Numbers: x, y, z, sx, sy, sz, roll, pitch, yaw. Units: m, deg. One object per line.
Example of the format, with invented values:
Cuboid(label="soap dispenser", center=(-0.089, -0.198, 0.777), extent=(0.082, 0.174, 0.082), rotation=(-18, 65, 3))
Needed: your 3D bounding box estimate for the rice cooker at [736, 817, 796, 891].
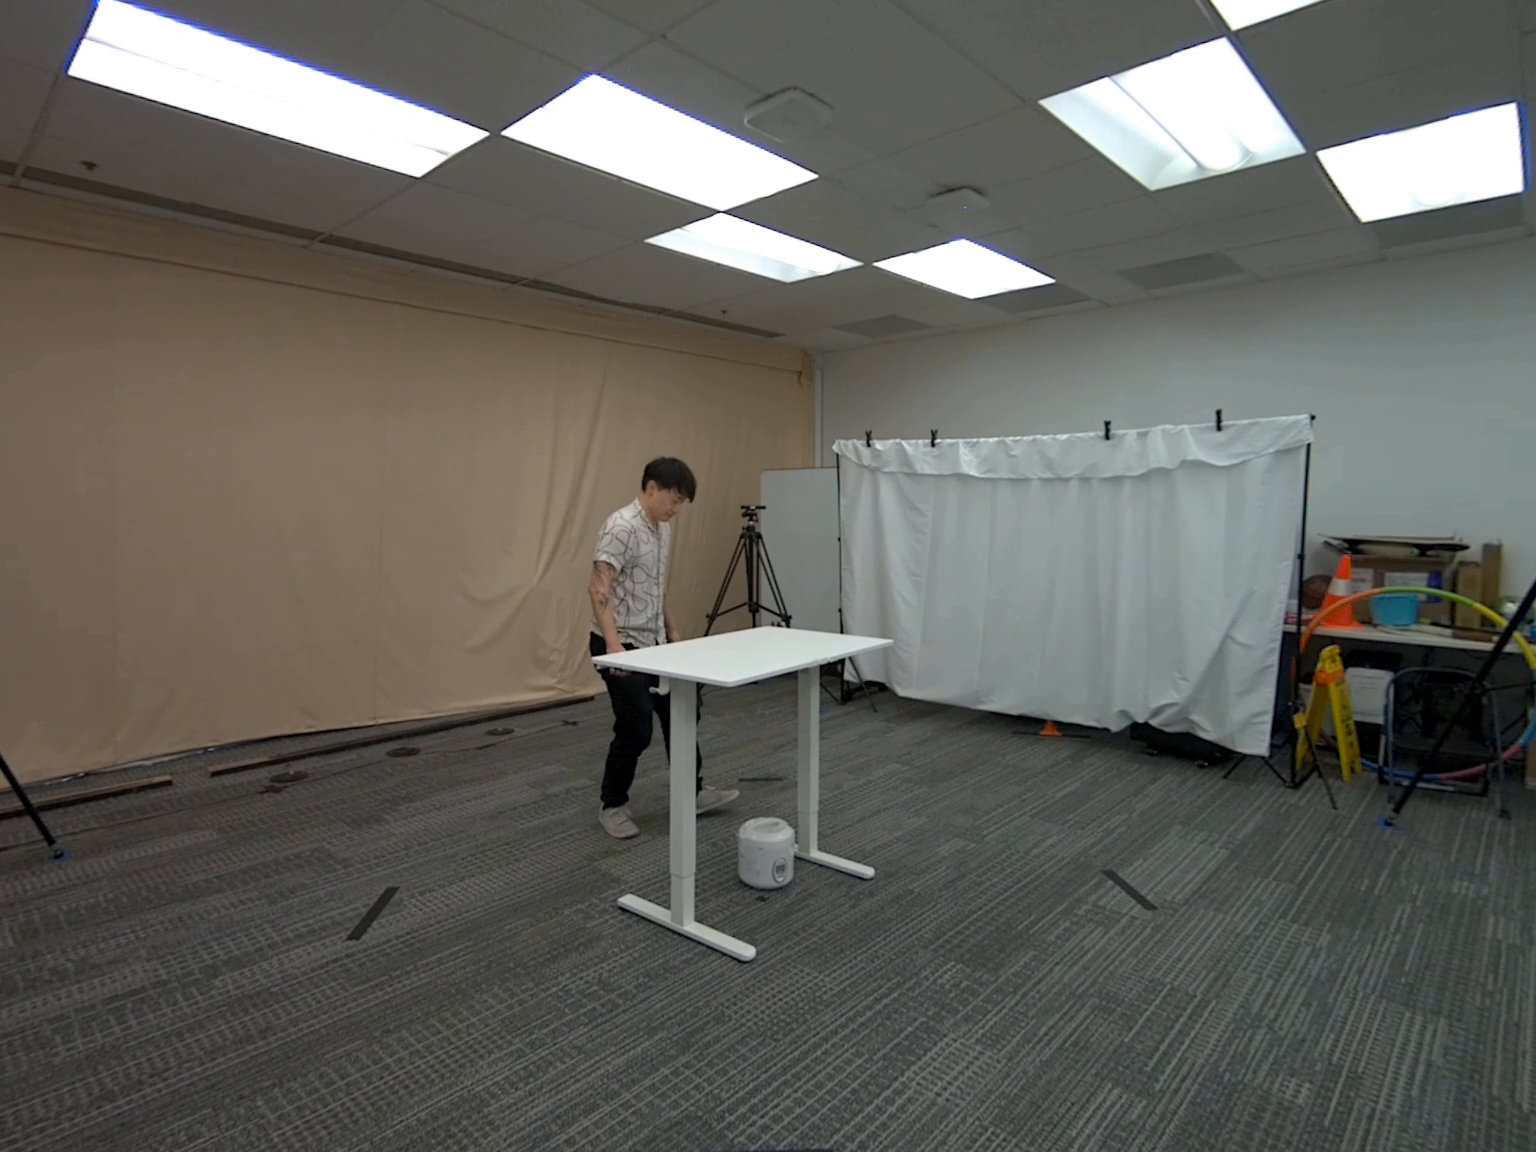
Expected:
Cuboid(label="rice cooker", center=(-0.005, 1.016, 3.120), extent=(0.215, 0.232, 0.223), rotation=(-2, 4, -27))
